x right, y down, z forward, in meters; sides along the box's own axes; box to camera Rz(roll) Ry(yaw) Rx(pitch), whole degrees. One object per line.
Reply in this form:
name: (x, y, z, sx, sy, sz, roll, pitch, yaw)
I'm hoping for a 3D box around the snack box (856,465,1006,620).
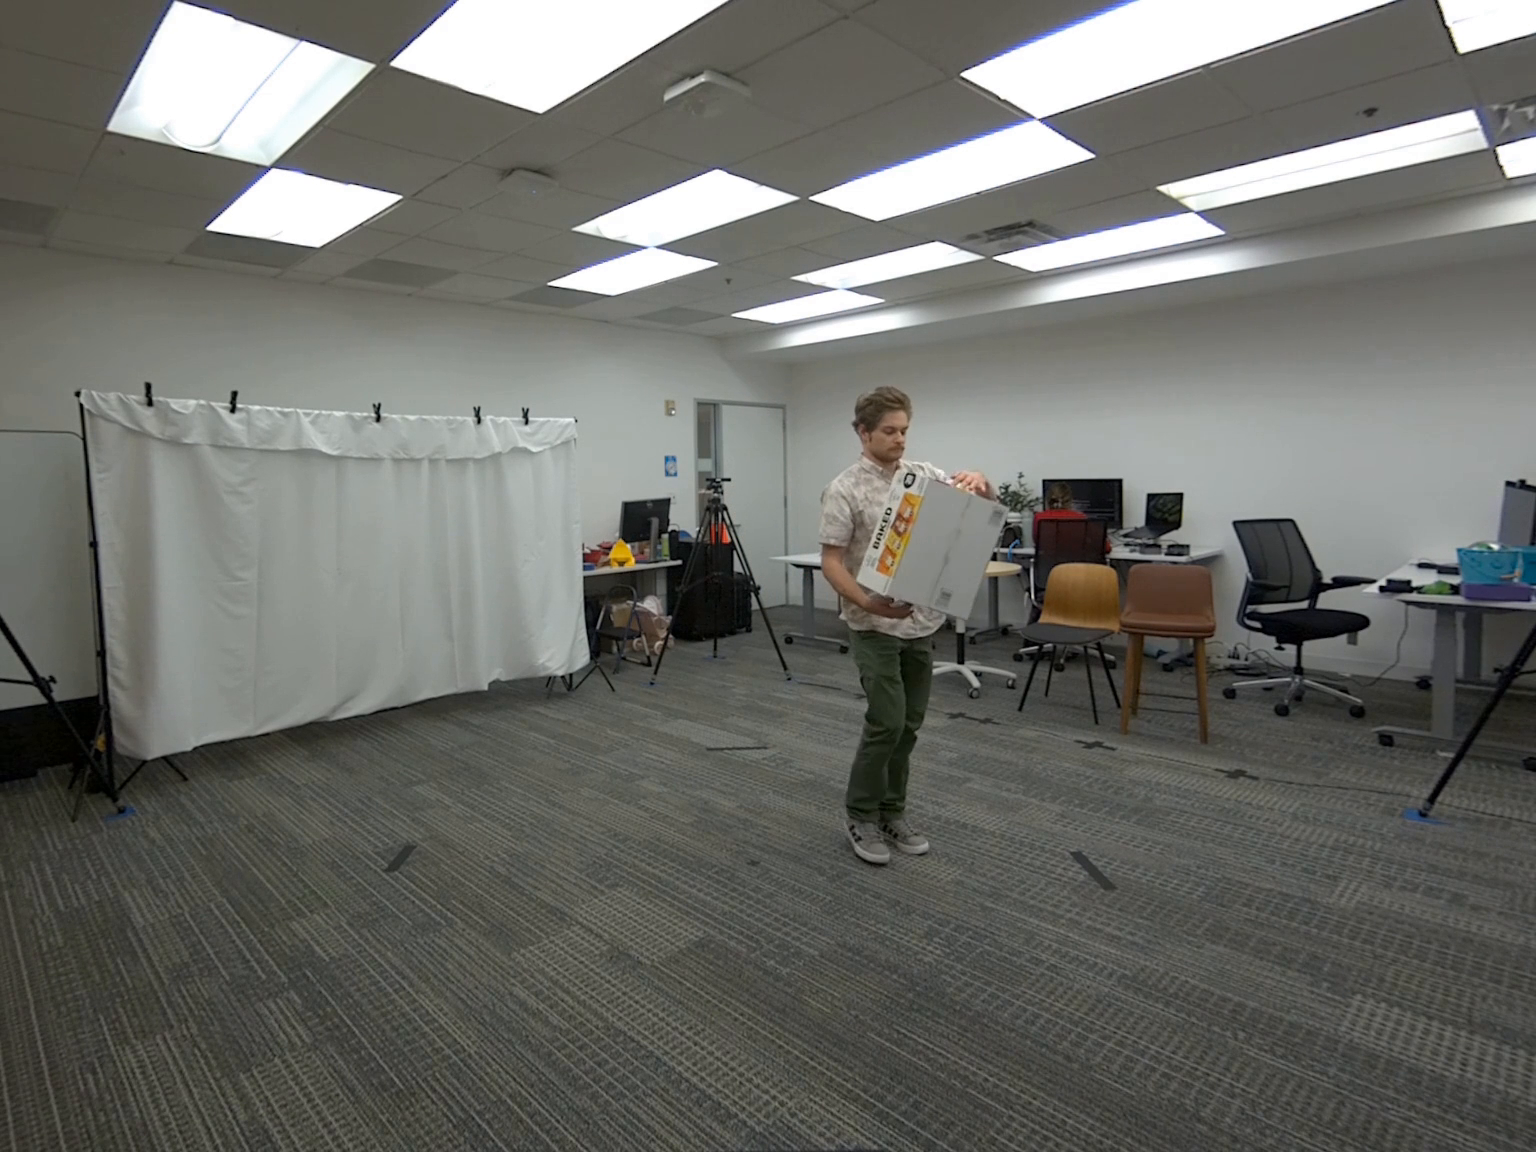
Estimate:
snack box: (0.541, -0.102, 2.863, 0.332, 0.404, 0.211, 17, 5, -23)
